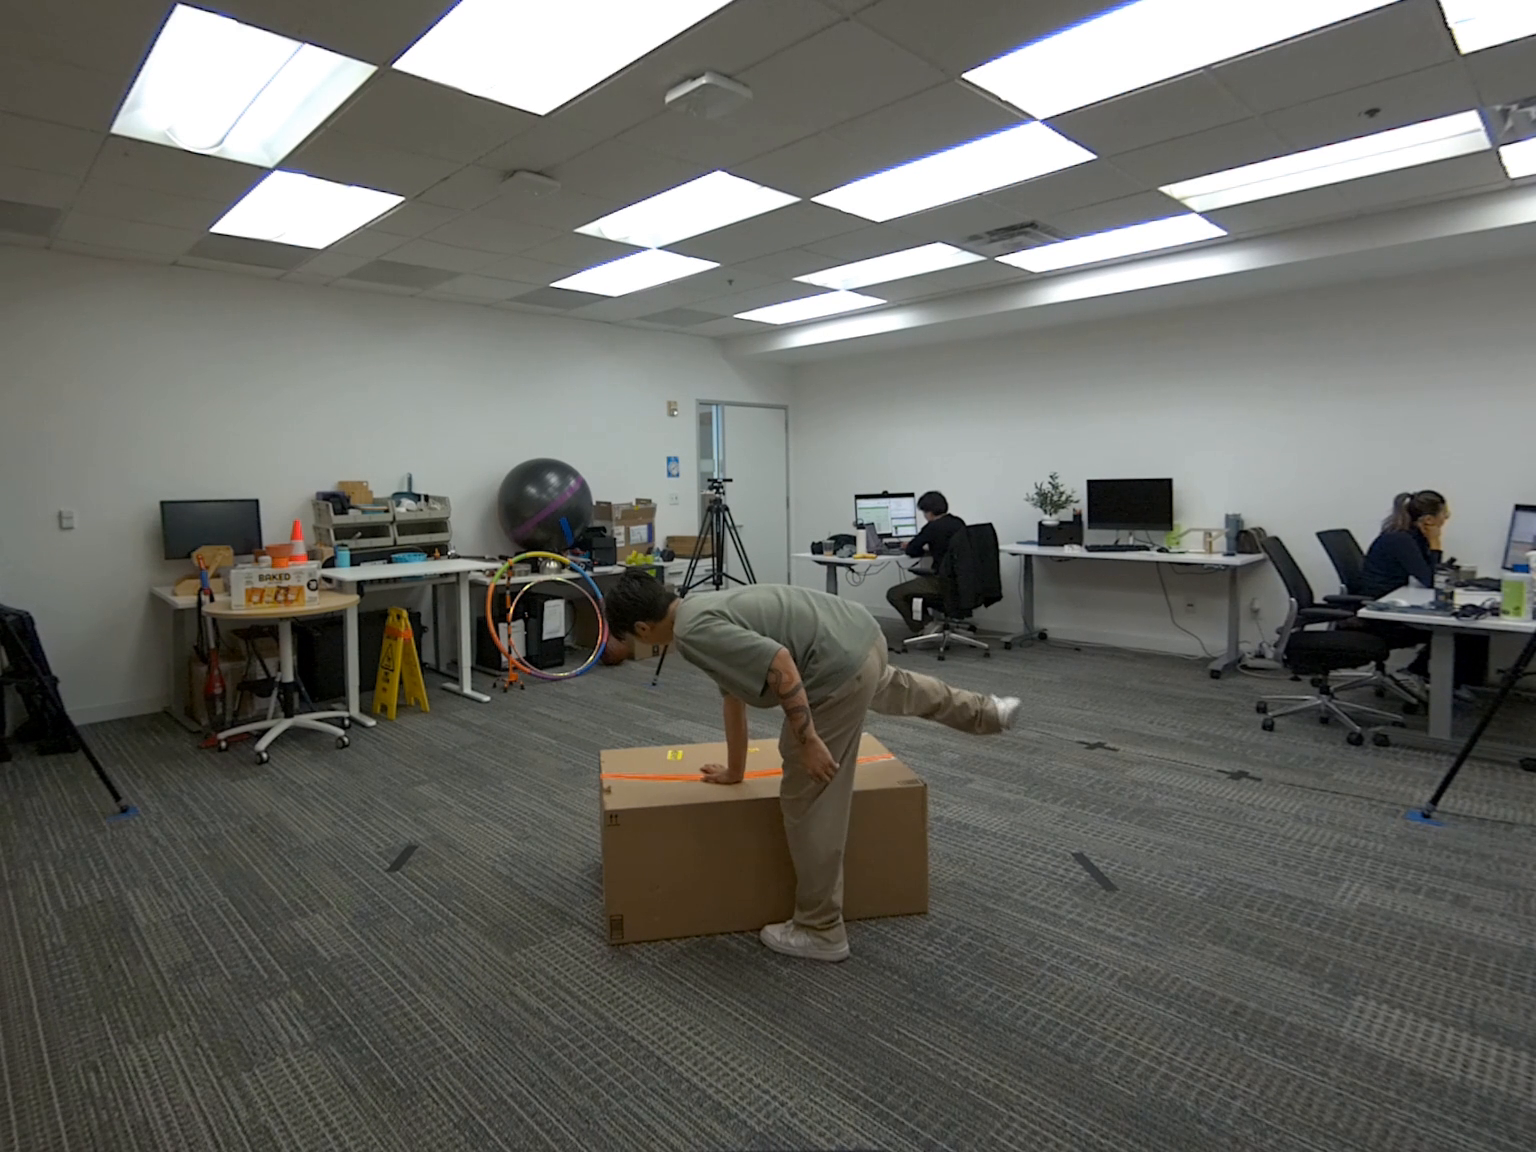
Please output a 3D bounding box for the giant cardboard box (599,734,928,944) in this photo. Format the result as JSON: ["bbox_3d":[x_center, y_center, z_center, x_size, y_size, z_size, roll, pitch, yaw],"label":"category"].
[{"bbox_3d":[-0.050,0.854,2.916,1.016,0.424,0.585,-2,5,-10],"label":"giant cardboard box"}]
